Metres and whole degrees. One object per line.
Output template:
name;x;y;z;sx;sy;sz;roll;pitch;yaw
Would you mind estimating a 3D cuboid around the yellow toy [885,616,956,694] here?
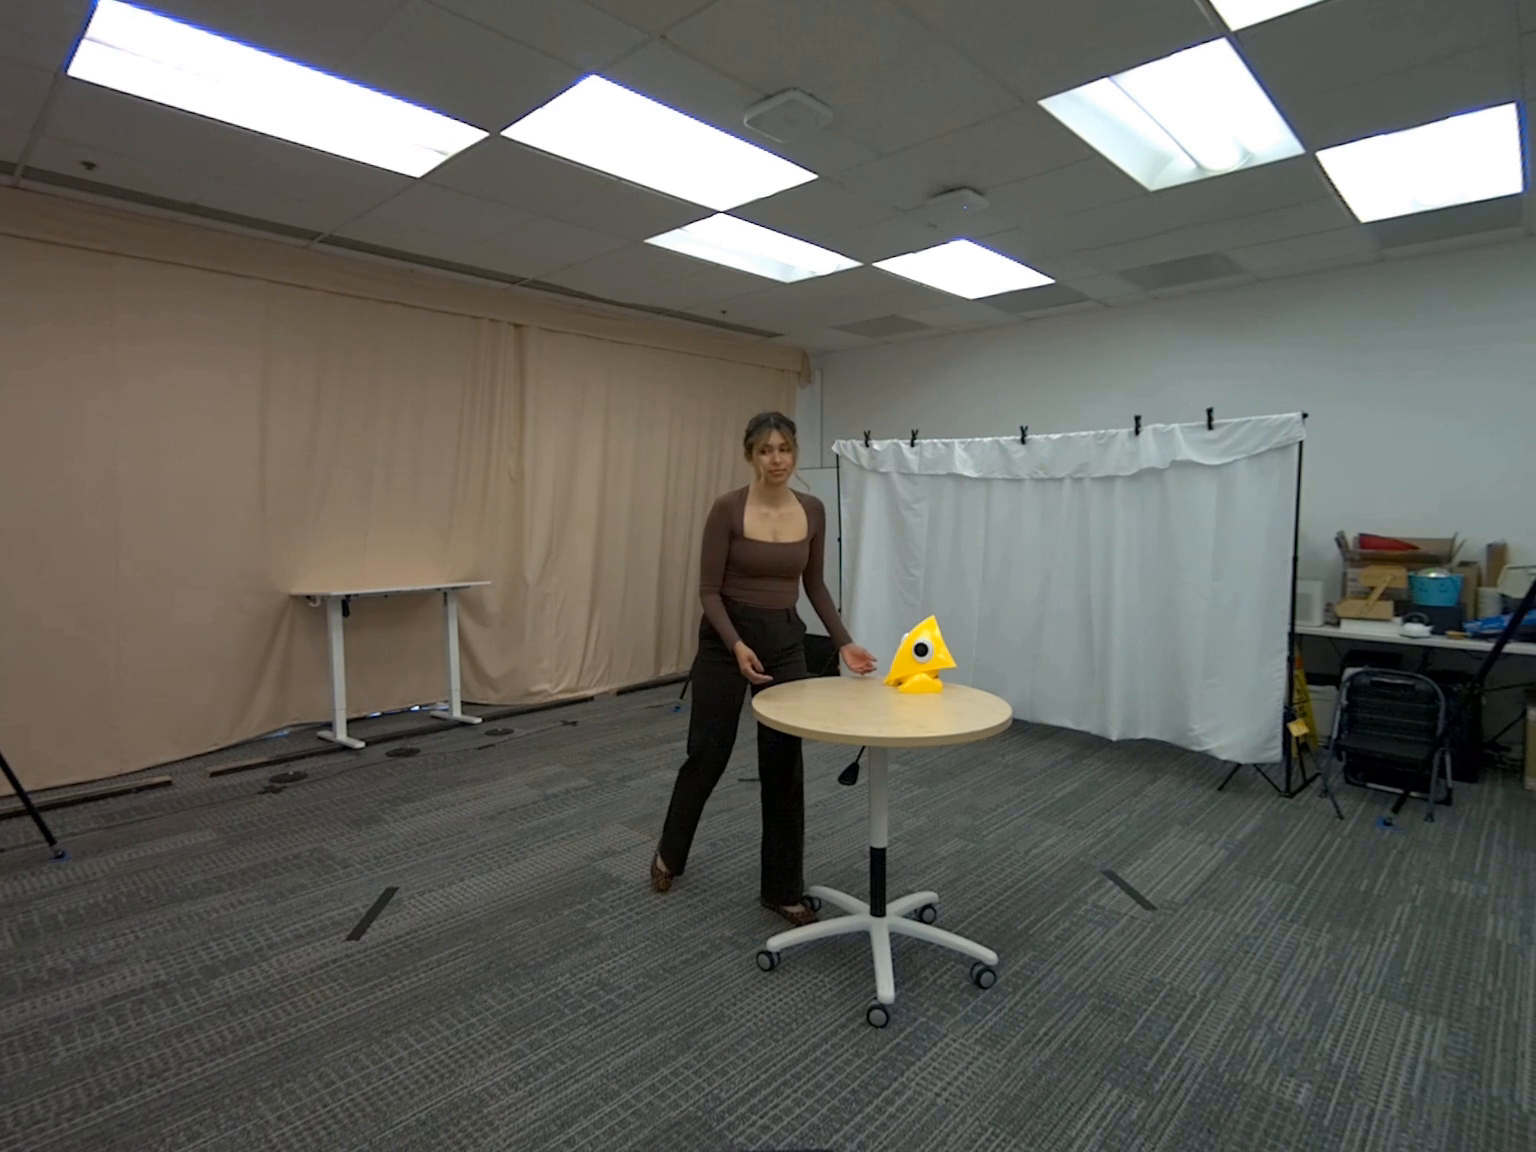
yellow toy;0.493;0.250;2.749;0.190;0.230;0.208;-1;3;-14
